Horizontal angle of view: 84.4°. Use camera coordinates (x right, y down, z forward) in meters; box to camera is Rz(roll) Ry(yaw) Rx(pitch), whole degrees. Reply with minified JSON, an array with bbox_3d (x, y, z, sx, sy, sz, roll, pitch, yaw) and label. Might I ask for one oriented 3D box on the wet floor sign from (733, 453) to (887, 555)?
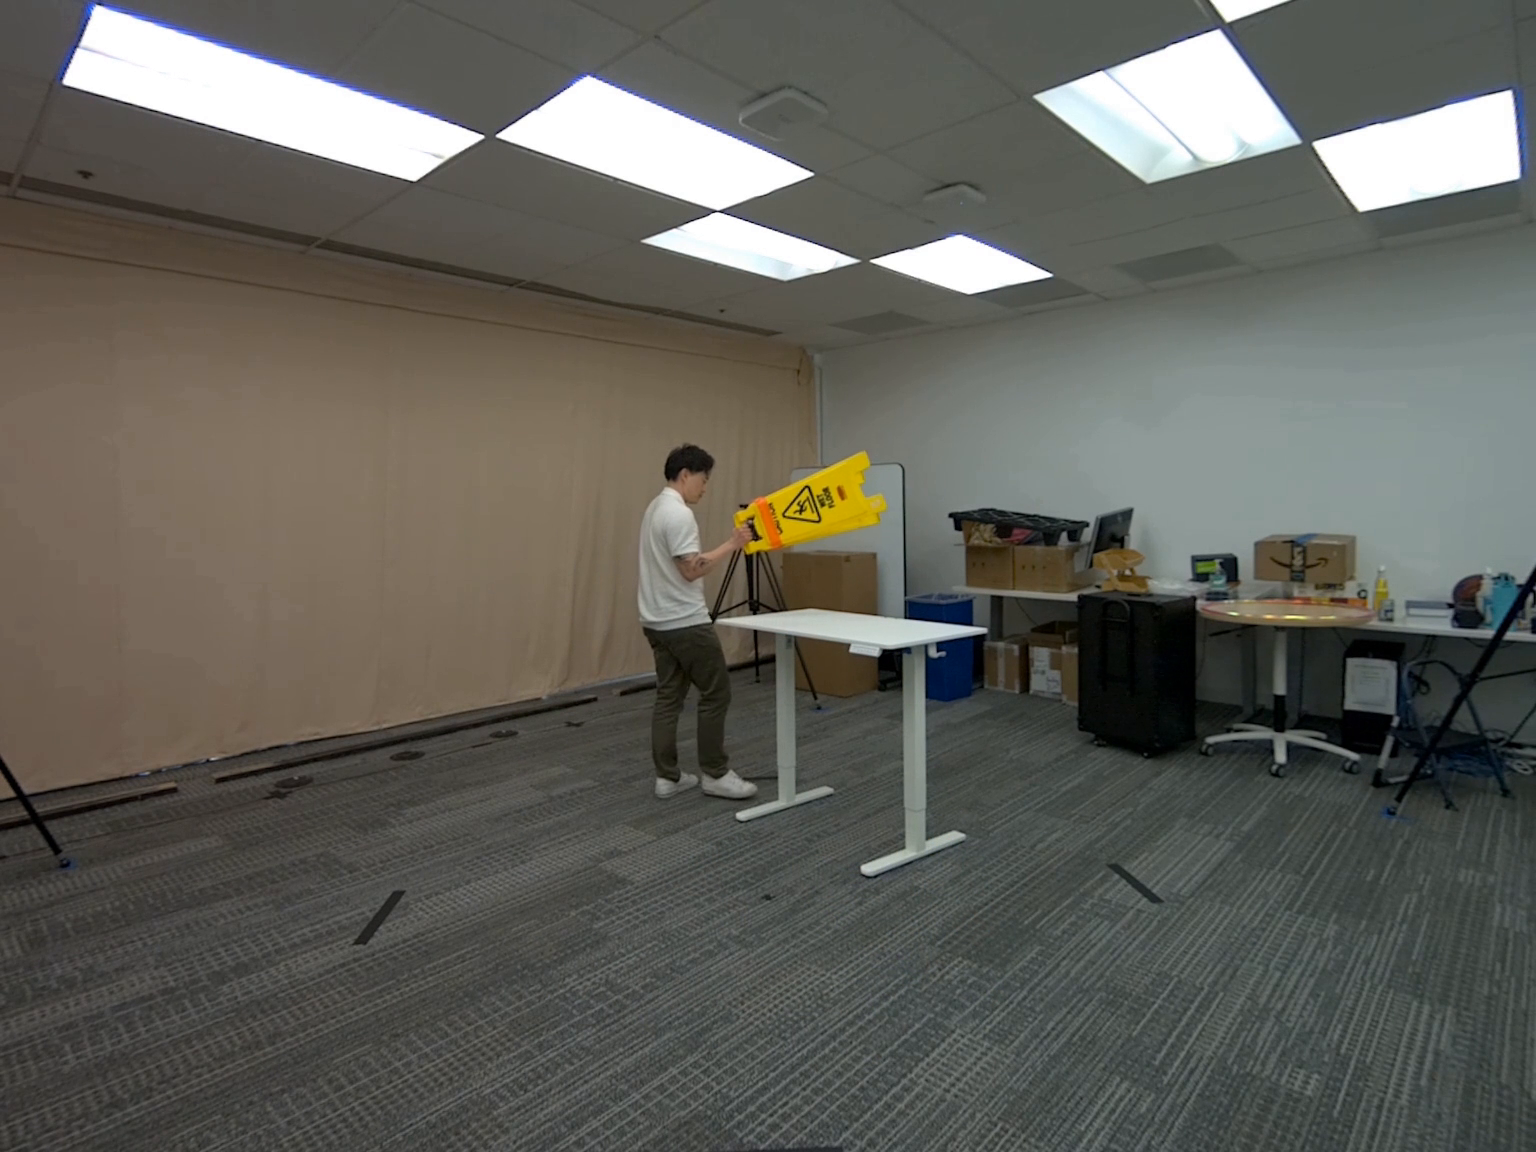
[{"bbox_3d":[0.178,-0.290,3.809,0.646,0.285,0.287,-20,-9,1],"label":"wet floor sign"}]
